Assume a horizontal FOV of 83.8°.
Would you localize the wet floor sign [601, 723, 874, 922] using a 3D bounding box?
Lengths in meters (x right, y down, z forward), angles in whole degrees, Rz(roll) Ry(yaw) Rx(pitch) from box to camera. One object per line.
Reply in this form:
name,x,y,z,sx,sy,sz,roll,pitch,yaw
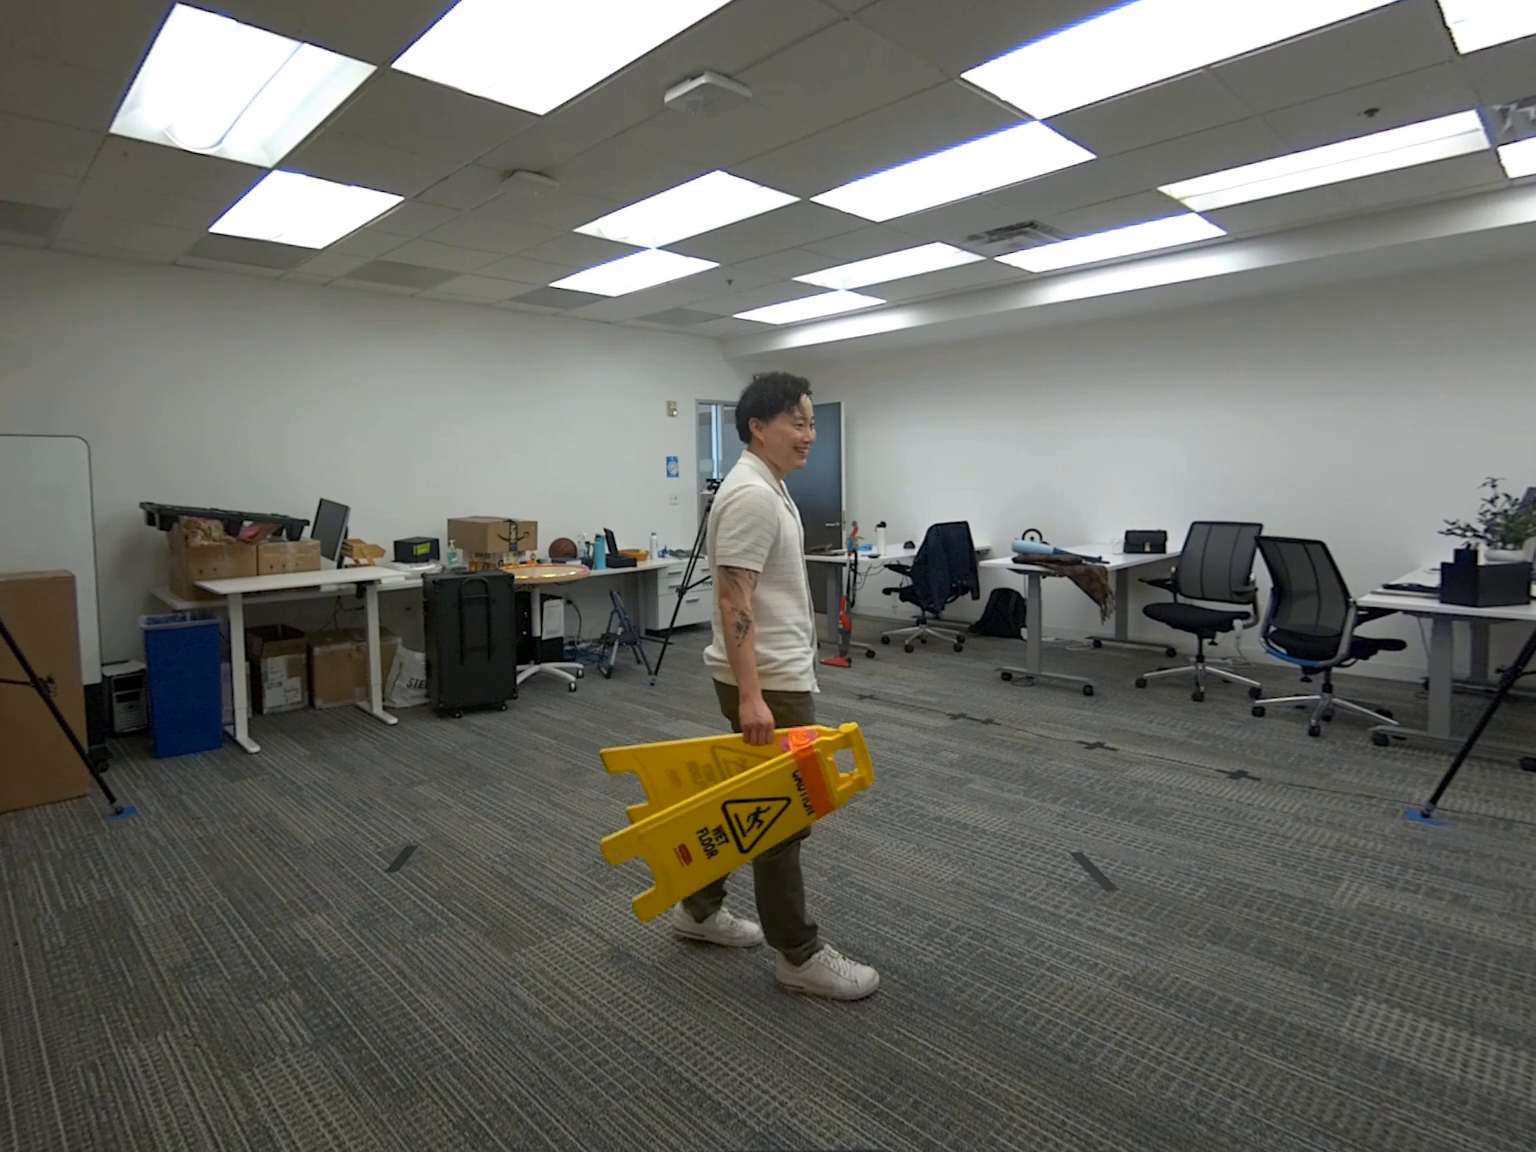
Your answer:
wet floor sign,-0.060,0.530,2.088,0.646,0.274,0.298,-19,30,0
